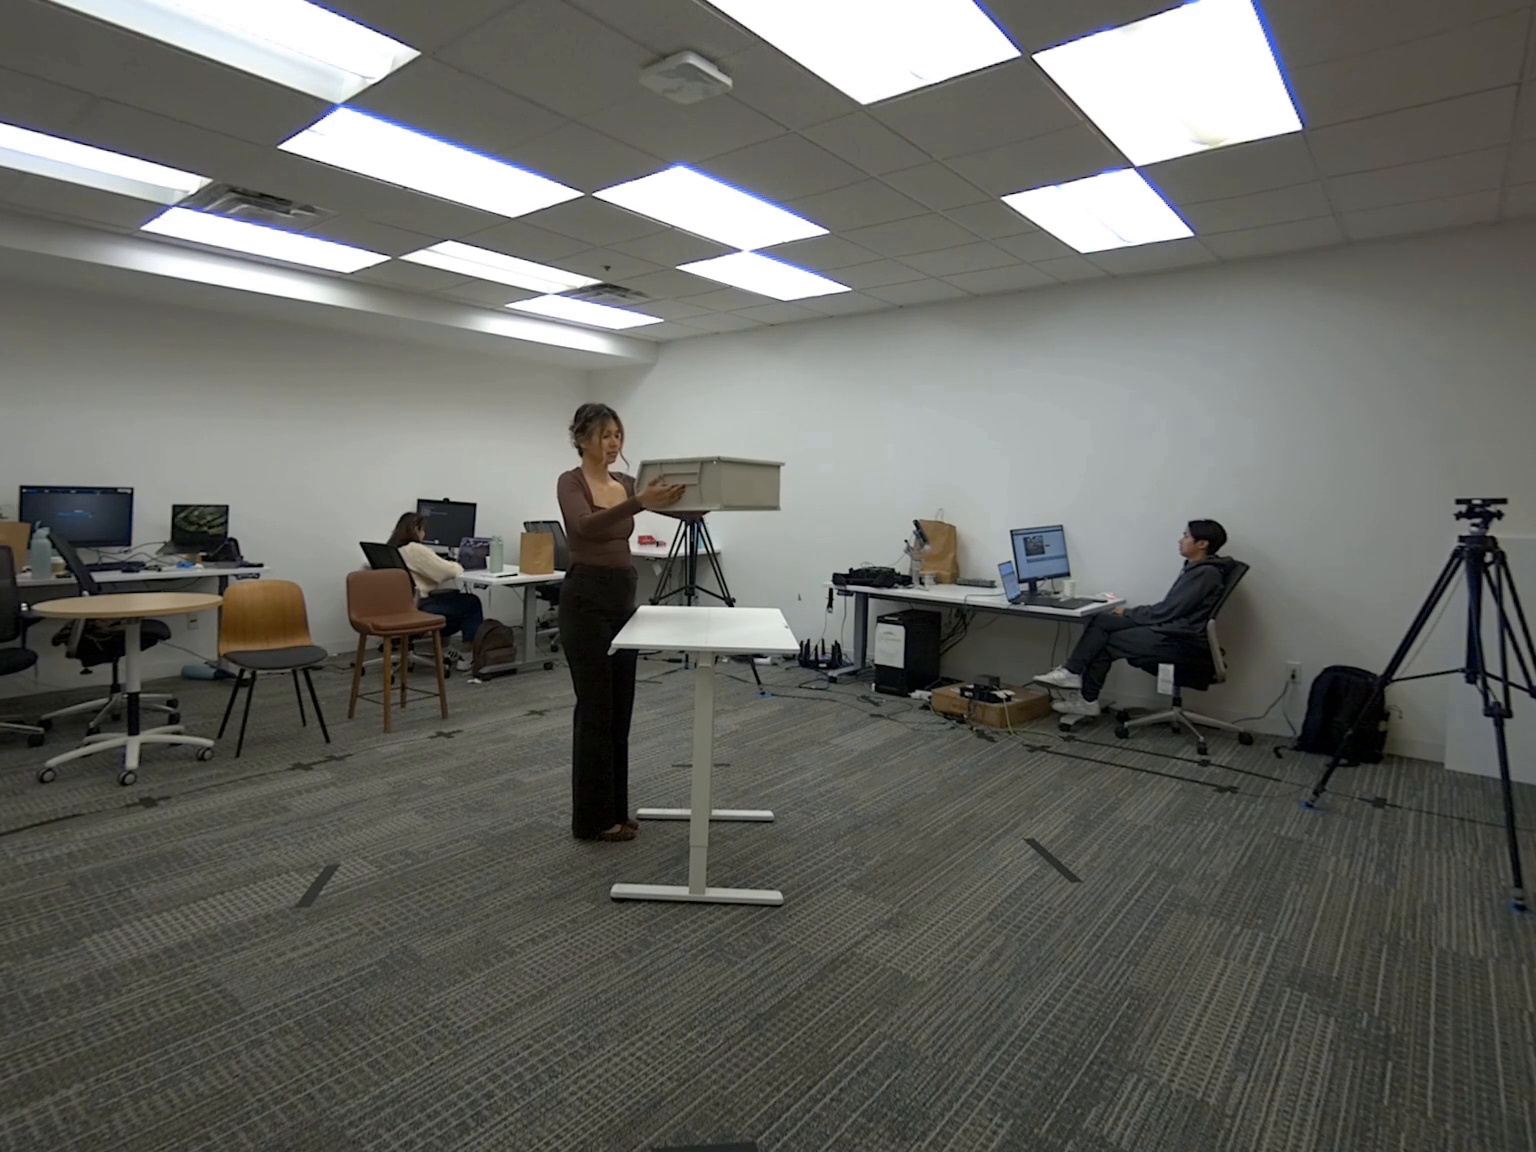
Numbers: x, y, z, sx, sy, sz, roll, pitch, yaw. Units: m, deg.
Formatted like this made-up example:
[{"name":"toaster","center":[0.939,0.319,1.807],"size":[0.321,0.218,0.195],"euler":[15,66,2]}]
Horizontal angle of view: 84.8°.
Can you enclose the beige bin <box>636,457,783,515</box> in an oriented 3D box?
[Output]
[{"name":"beige bin","center":[-0.213,-0.329,3.086],"size":[0.389,0.188,0.410],"euler":[3,4,32]}]
